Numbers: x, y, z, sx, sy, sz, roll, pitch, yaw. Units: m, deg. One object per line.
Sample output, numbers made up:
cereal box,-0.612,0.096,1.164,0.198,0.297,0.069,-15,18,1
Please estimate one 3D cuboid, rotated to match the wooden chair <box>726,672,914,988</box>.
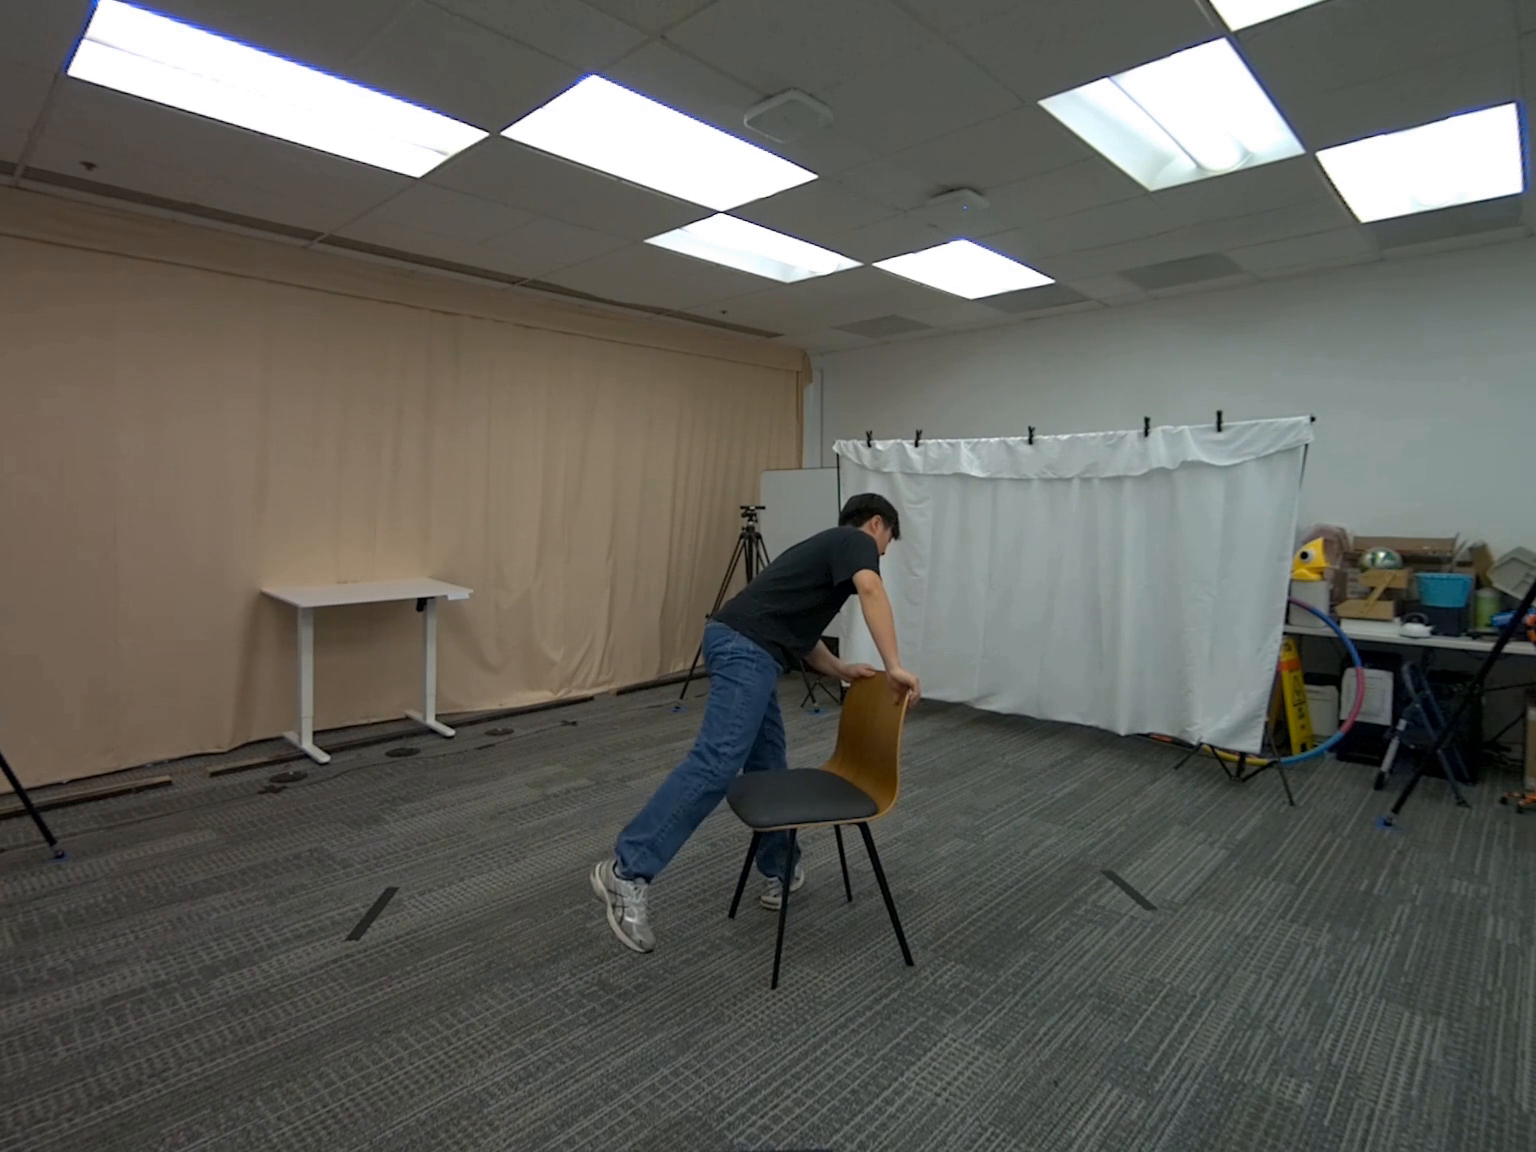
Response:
wooden chair,0.154,0.744,2.666,0.514,0.876,0.487,3,2,-18
